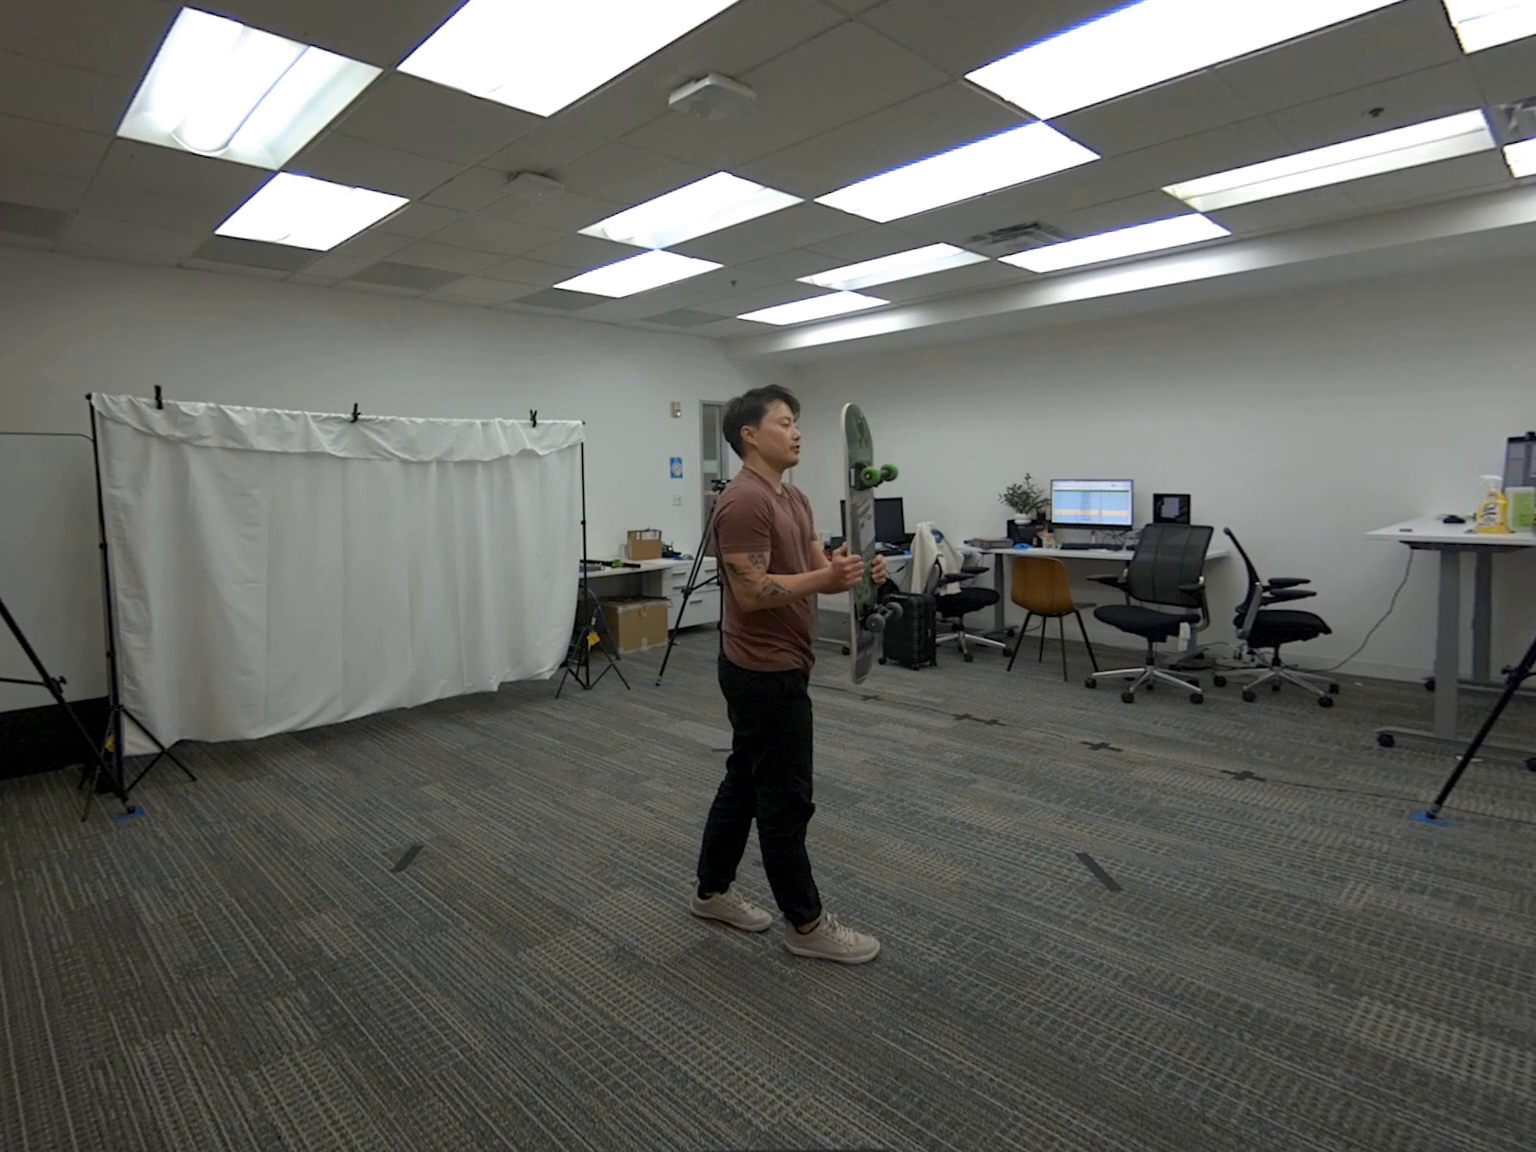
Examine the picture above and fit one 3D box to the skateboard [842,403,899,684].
[{"bbox_3d":[0.280,-0.080,2.366,0.113,0.781,0.190,0,7,29],"label":"skateboard"}]
